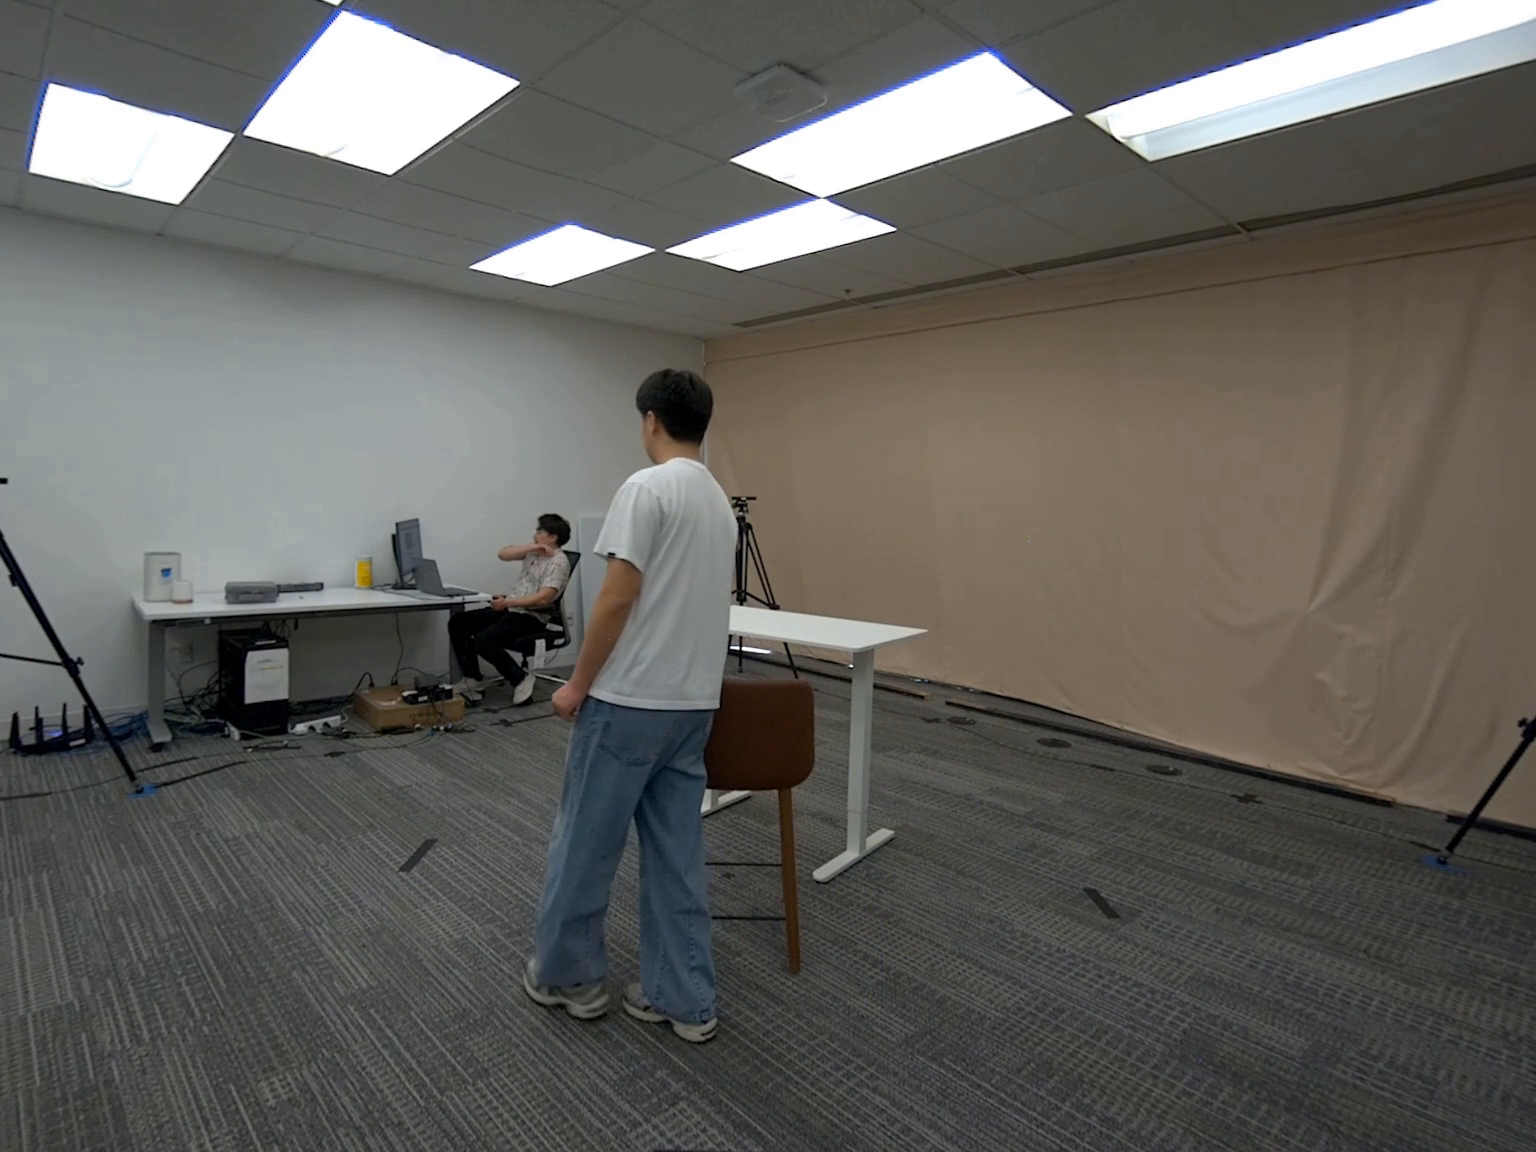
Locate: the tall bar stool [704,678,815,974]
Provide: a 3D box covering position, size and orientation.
[{"bbox_3d":[-0.106,0.712,2.665,0.455,0.886,0.470,1,5,-4],"label":"tall bar stool"}]
